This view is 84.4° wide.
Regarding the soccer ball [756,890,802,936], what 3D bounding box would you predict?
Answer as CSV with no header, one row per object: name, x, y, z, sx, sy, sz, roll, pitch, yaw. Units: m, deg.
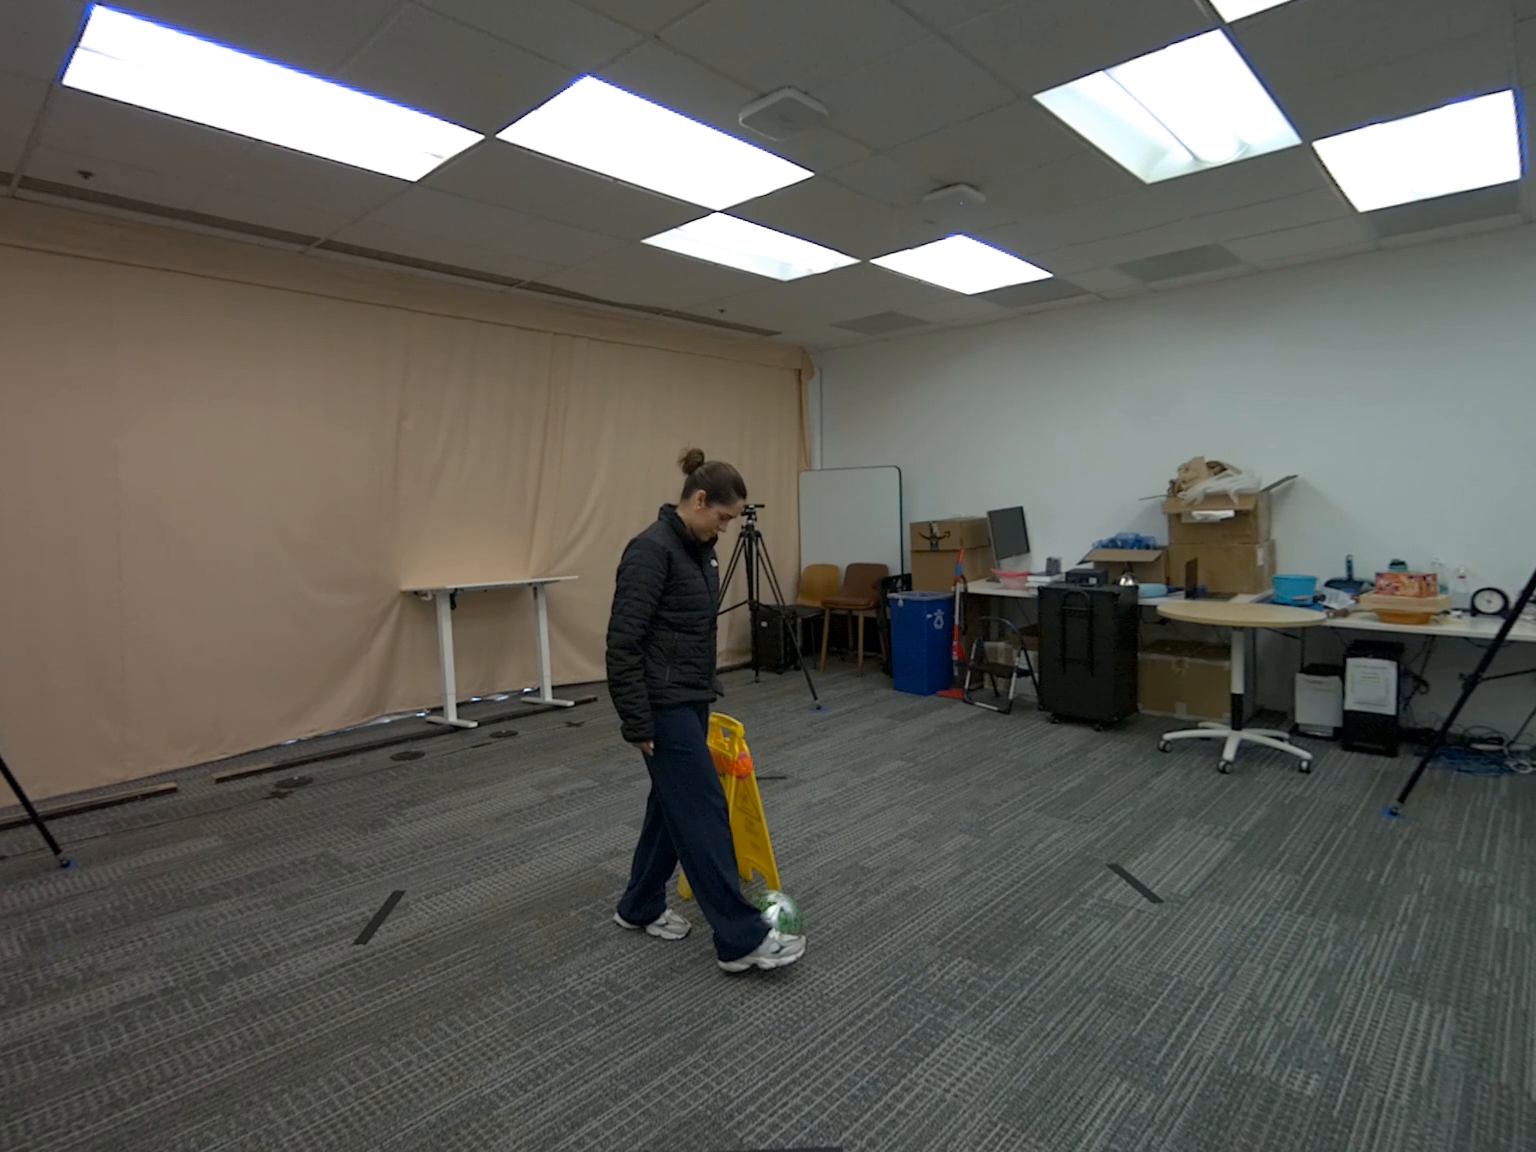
soccer ball,0.016,1.069,2.623,0.187,0.187,0.188,-1,4,-2
